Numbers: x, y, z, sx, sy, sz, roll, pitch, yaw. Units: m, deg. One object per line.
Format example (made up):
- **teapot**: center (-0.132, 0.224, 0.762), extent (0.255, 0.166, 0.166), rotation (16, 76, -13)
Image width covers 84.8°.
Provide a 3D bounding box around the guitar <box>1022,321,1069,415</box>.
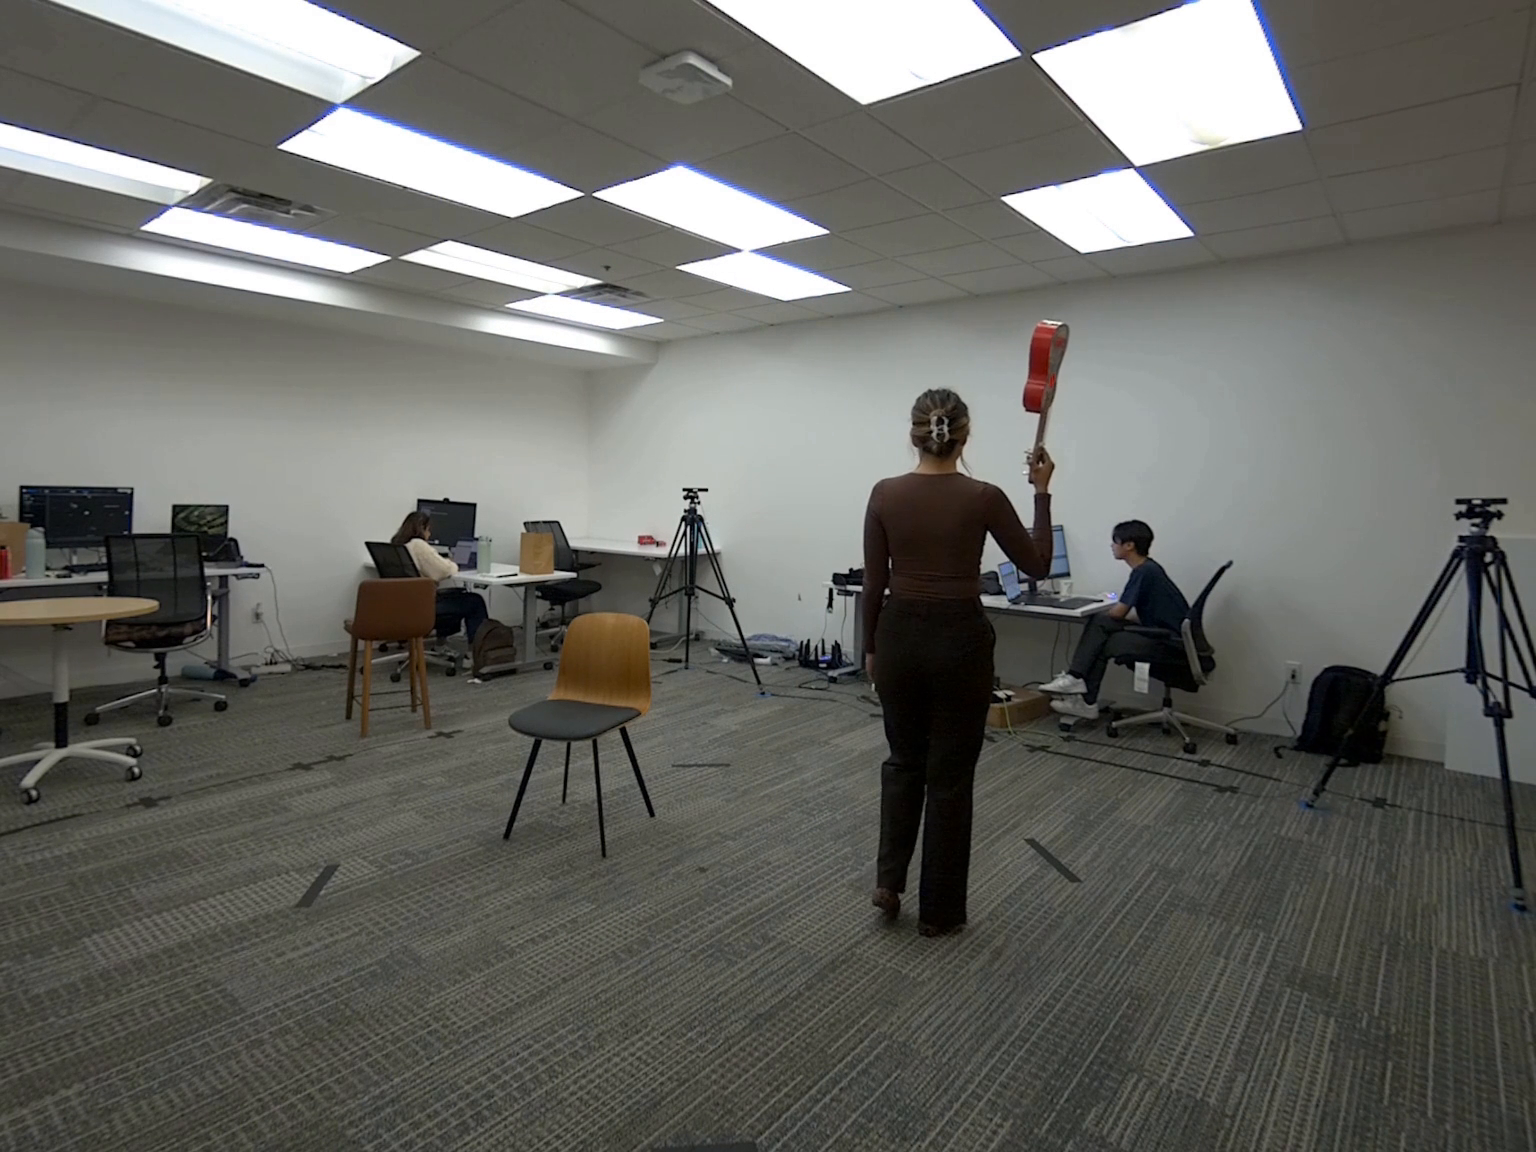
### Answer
- **guitar**: center (0.810, -0.536, 2.631), extent (0.073, 0.493, 0.188), rotation (19, 14, 29)
